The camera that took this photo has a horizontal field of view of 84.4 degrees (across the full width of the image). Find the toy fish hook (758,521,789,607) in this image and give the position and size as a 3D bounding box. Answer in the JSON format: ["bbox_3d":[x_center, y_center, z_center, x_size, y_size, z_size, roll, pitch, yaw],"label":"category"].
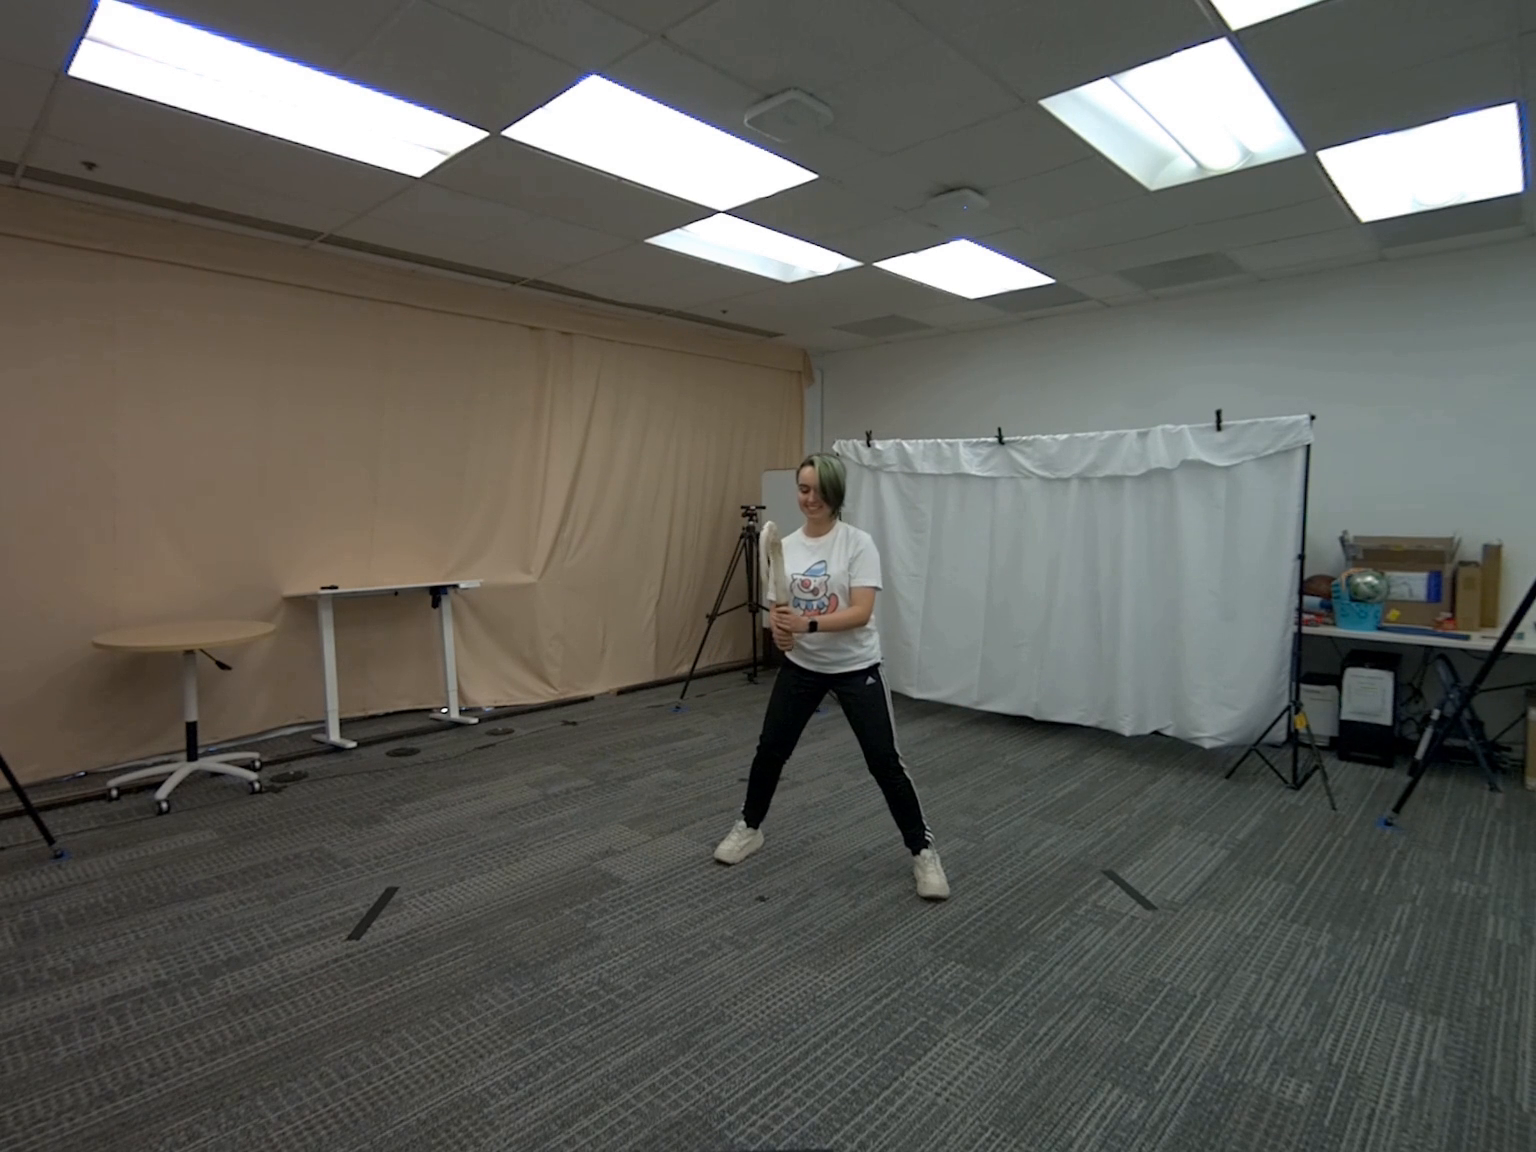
[{"bbox_3d":[0.031,0.066,2.854,0.049,0.497,0.224,-1,27,21],"label":"toy fish hook"}]
